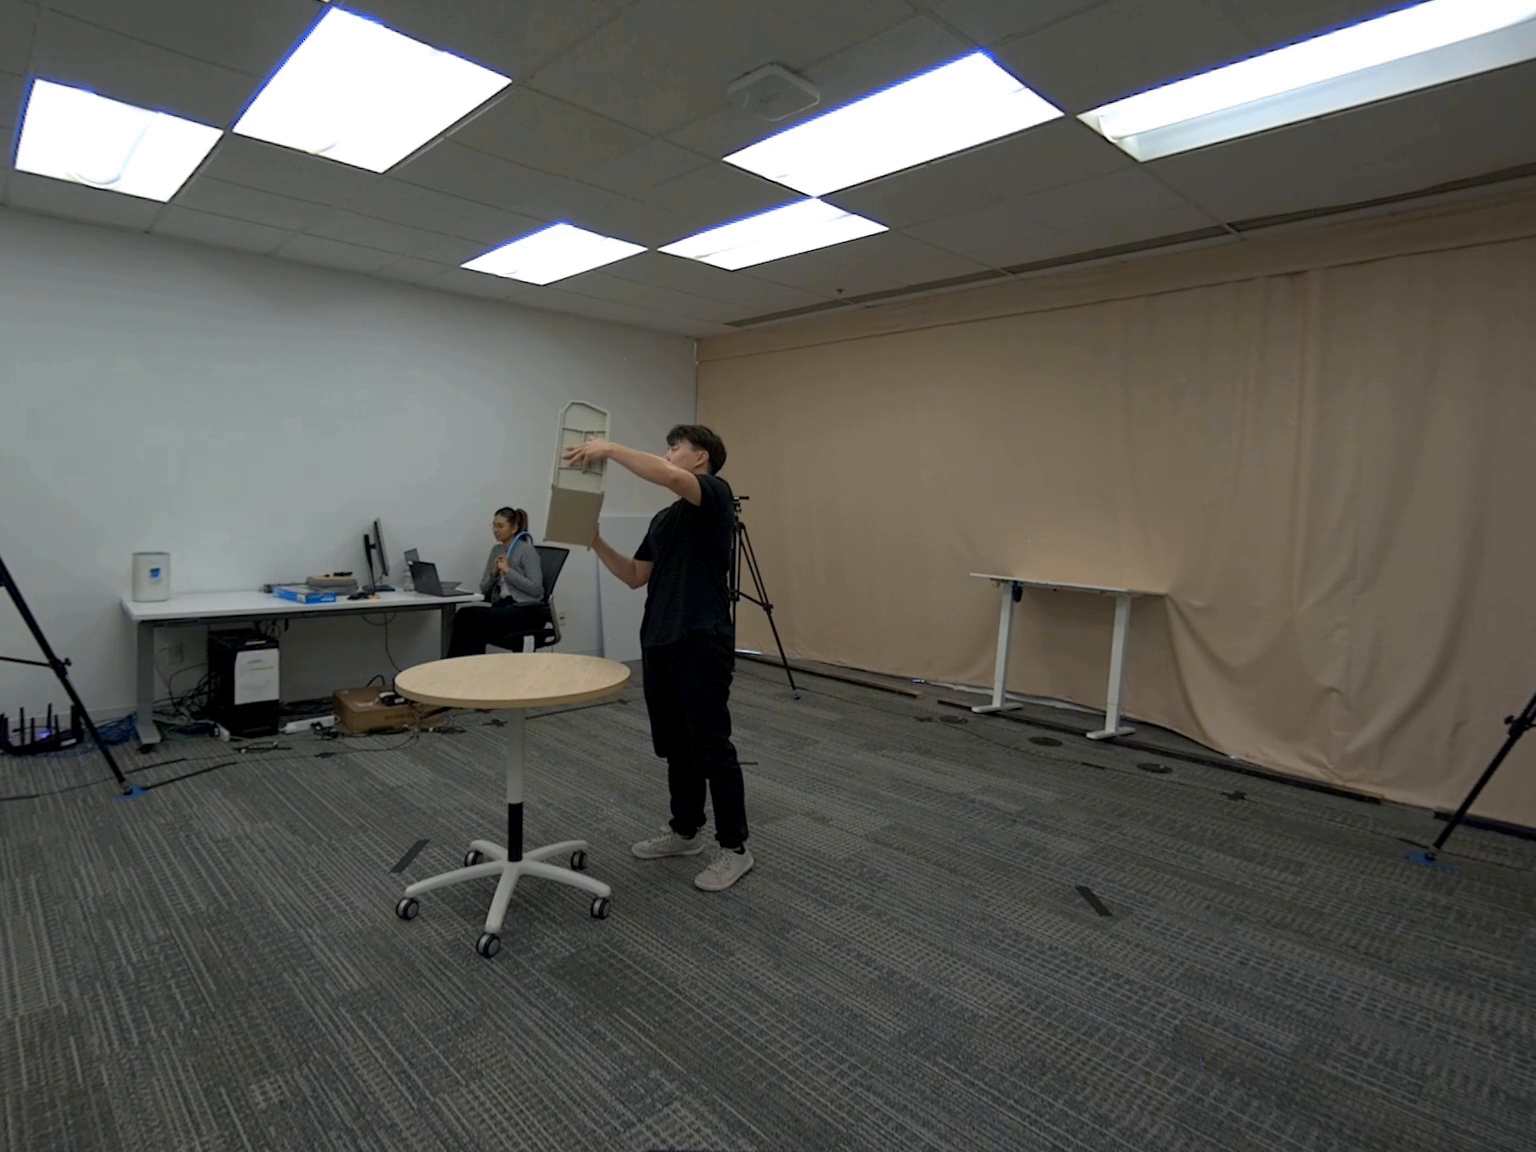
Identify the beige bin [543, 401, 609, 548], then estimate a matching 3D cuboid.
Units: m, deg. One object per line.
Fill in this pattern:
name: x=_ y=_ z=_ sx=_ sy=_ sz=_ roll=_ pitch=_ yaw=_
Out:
beige bin: x=-0.697 y=-0.359 z=3.080 sx=0.186 sy=0.385 sz=0.420 roll=6 pitch=-29 yaw=-17
